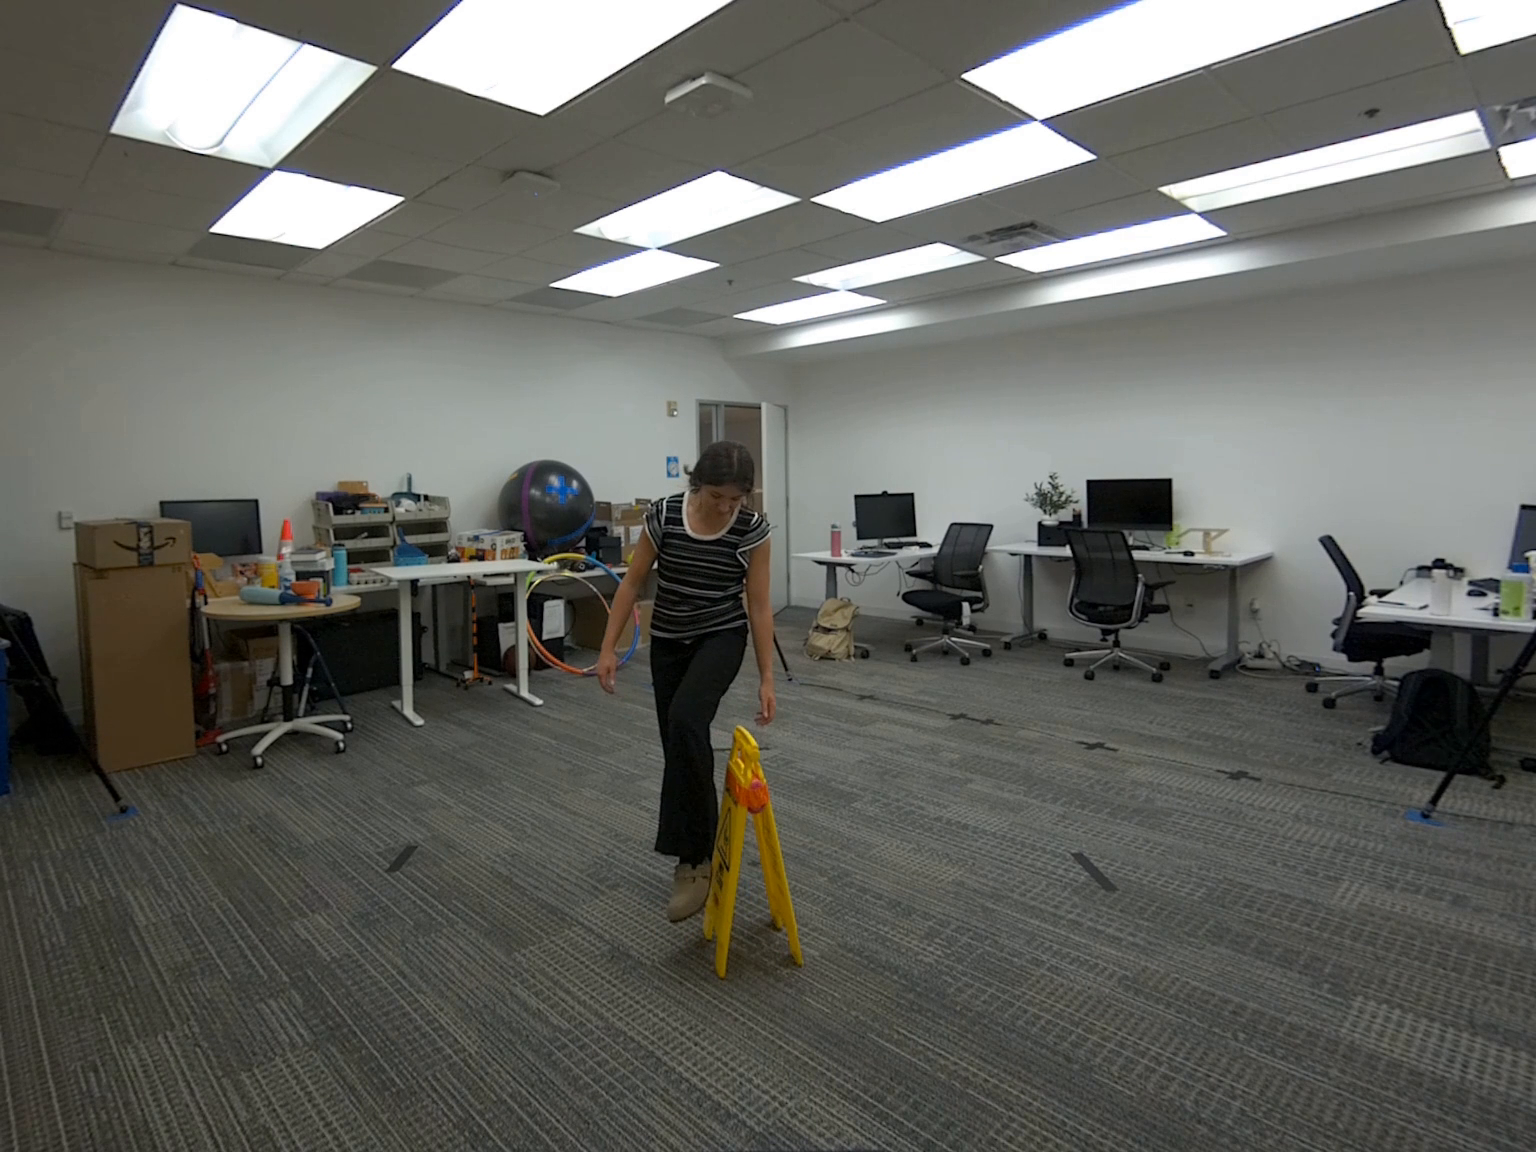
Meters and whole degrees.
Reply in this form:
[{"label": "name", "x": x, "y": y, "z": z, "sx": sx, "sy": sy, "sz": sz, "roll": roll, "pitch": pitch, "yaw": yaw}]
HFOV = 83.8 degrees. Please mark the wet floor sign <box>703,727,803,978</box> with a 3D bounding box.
[{"label": "wet floor sign", "x": -0.062, "y": 0.786, "z": 2.528, "sx": 0.286, "sy": 0.644, "sz": 0.287, "roll": -1, "pitch": 4, "yaw": -14}]
